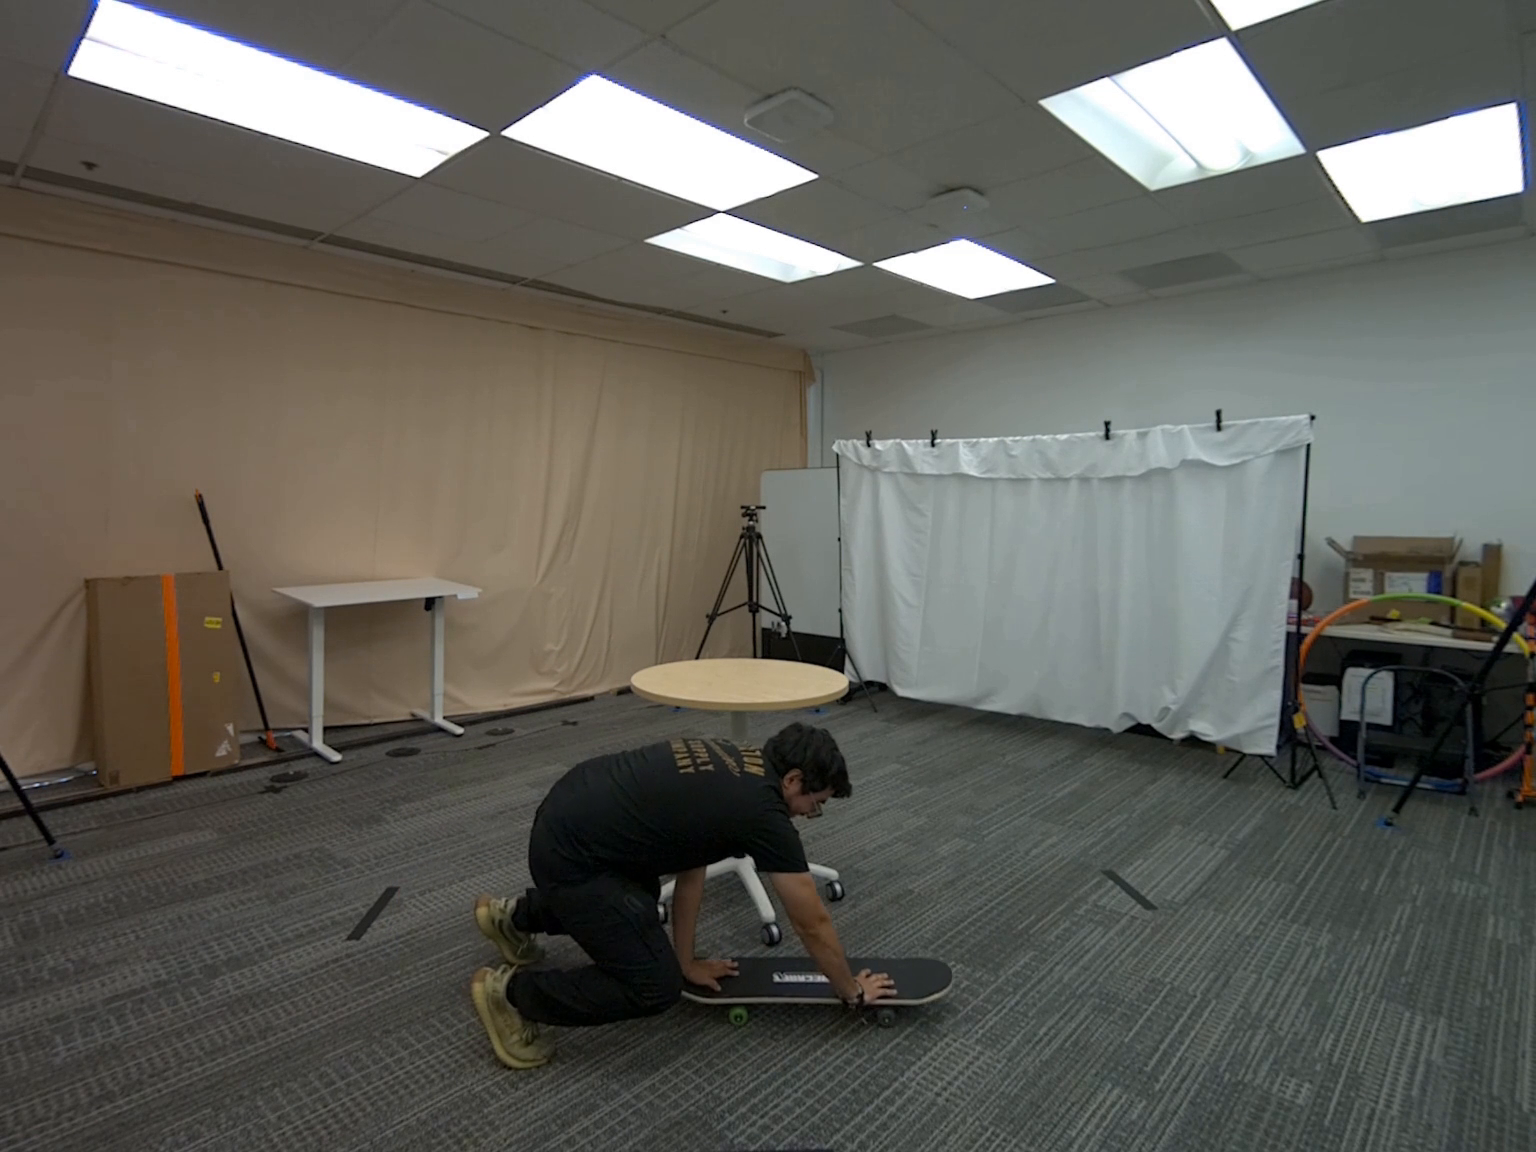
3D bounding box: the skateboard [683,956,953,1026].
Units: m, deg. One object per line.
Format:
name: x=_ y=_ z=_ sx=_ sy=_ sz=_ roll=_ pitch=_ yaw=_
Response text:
skateboard: x=0.116 y=1.147 z=2.321 sx=0.787 sy=0.110 sz=0.194 roll=0 pitch=8 yaw=1
